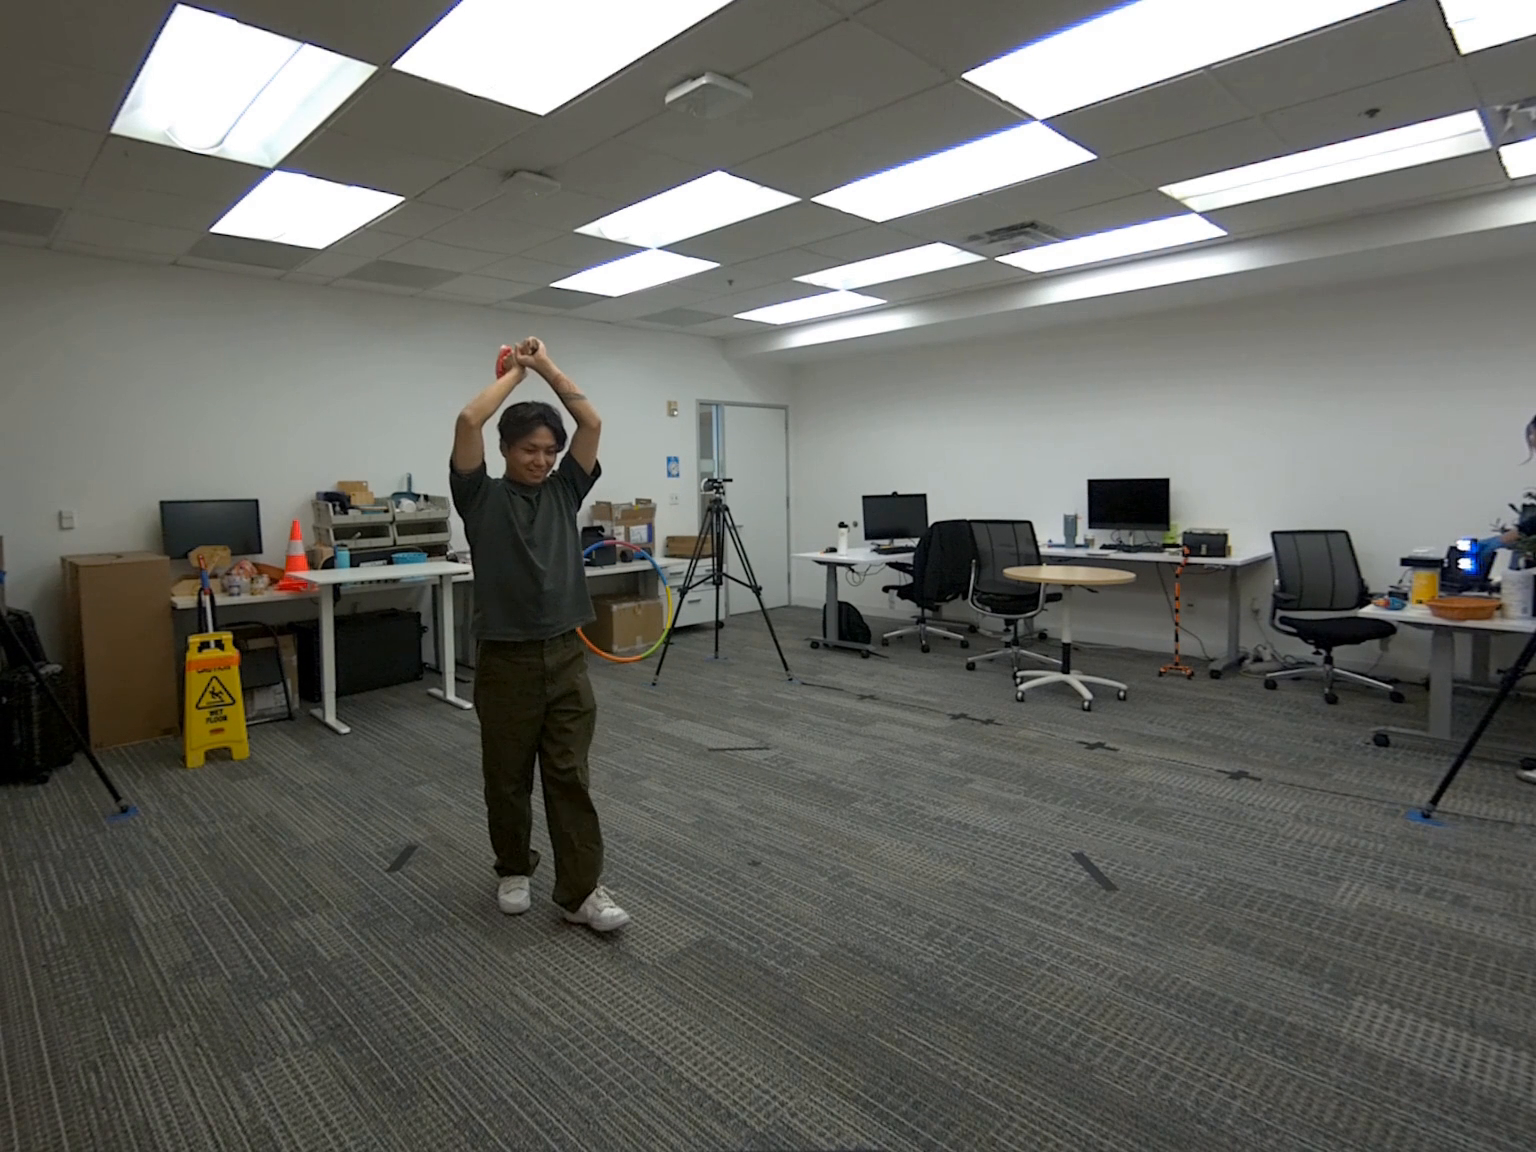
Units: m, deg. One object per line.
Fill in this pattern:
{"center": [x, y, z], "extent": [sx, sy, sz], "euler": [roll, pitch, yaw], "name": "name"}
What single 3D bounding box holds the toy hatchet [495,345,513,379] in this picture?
{"center": [-0.828, -0.723, 2.750], "extent": [0.029, 0.133, 0.273], "euler": [8, -19, -29], "name": "toy hatchet"}
